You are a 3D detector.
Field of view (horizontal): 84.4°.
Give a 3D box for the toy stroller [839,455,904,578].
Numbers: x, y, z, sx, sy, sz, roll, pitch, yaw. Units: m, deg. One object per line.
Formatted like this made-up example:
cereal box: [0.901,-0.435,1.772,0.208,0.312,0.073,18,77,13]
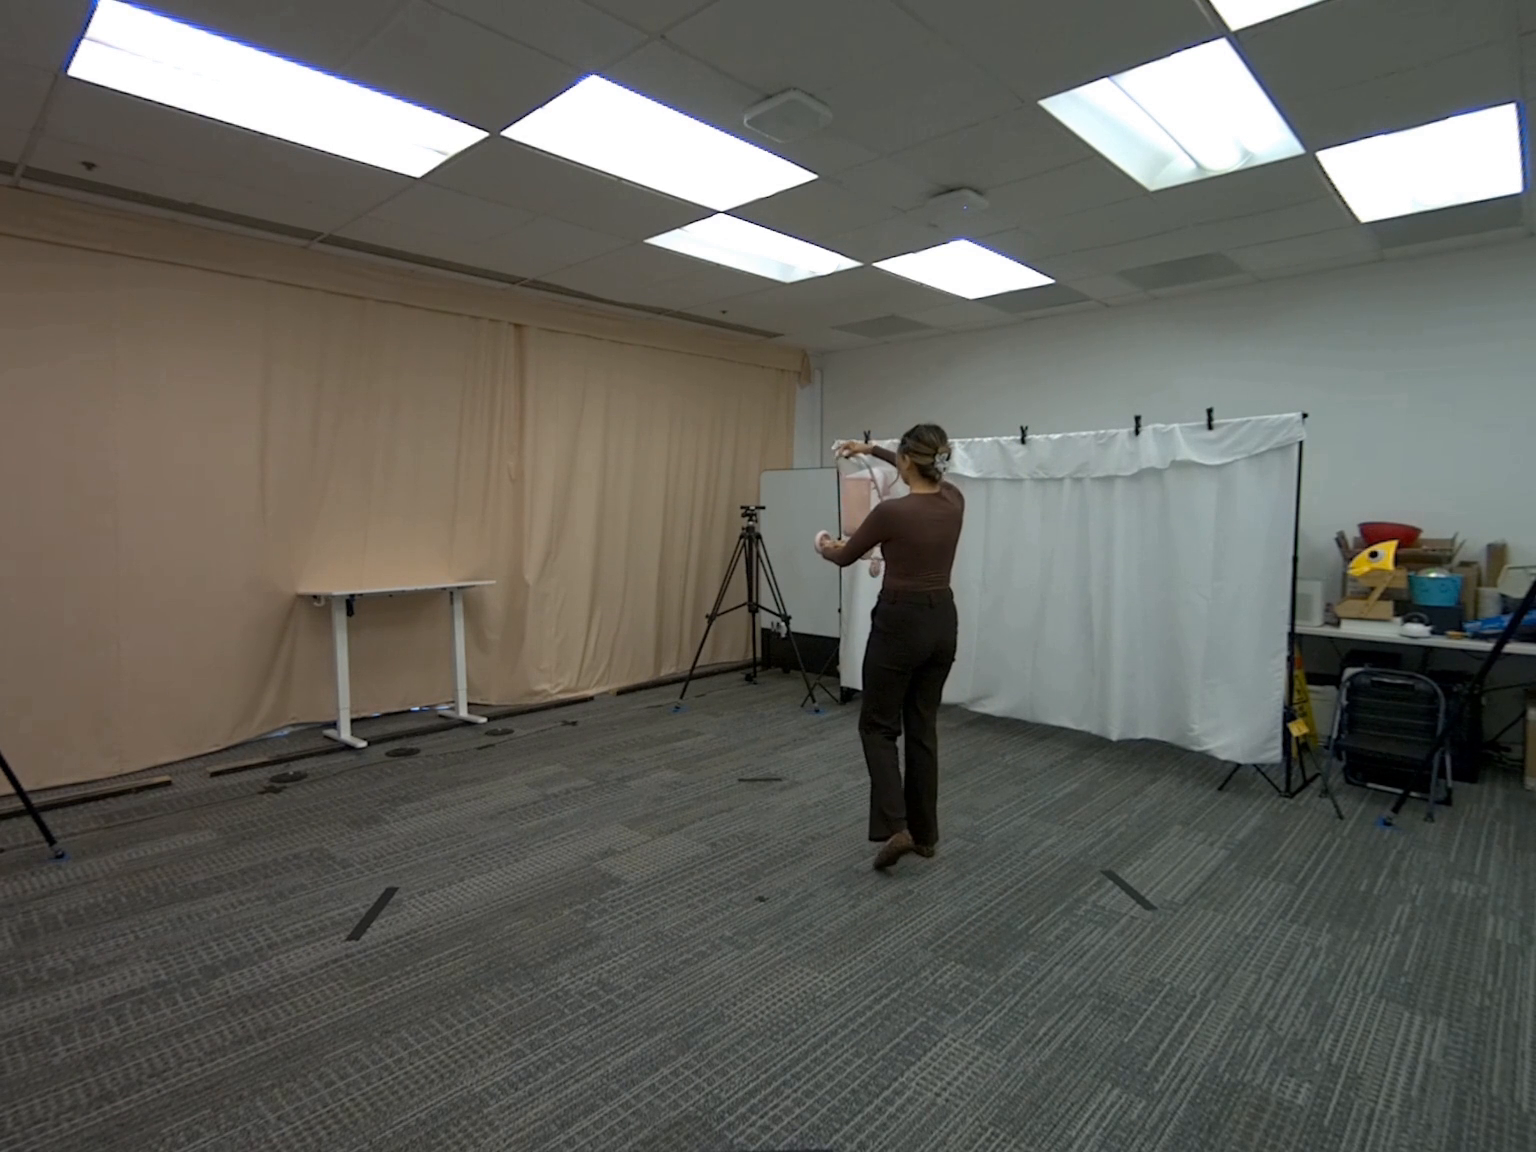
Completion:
toy stroller: [0.442,-0.271,3.836,0.330,0.535,0.291,10,-2,-38]
